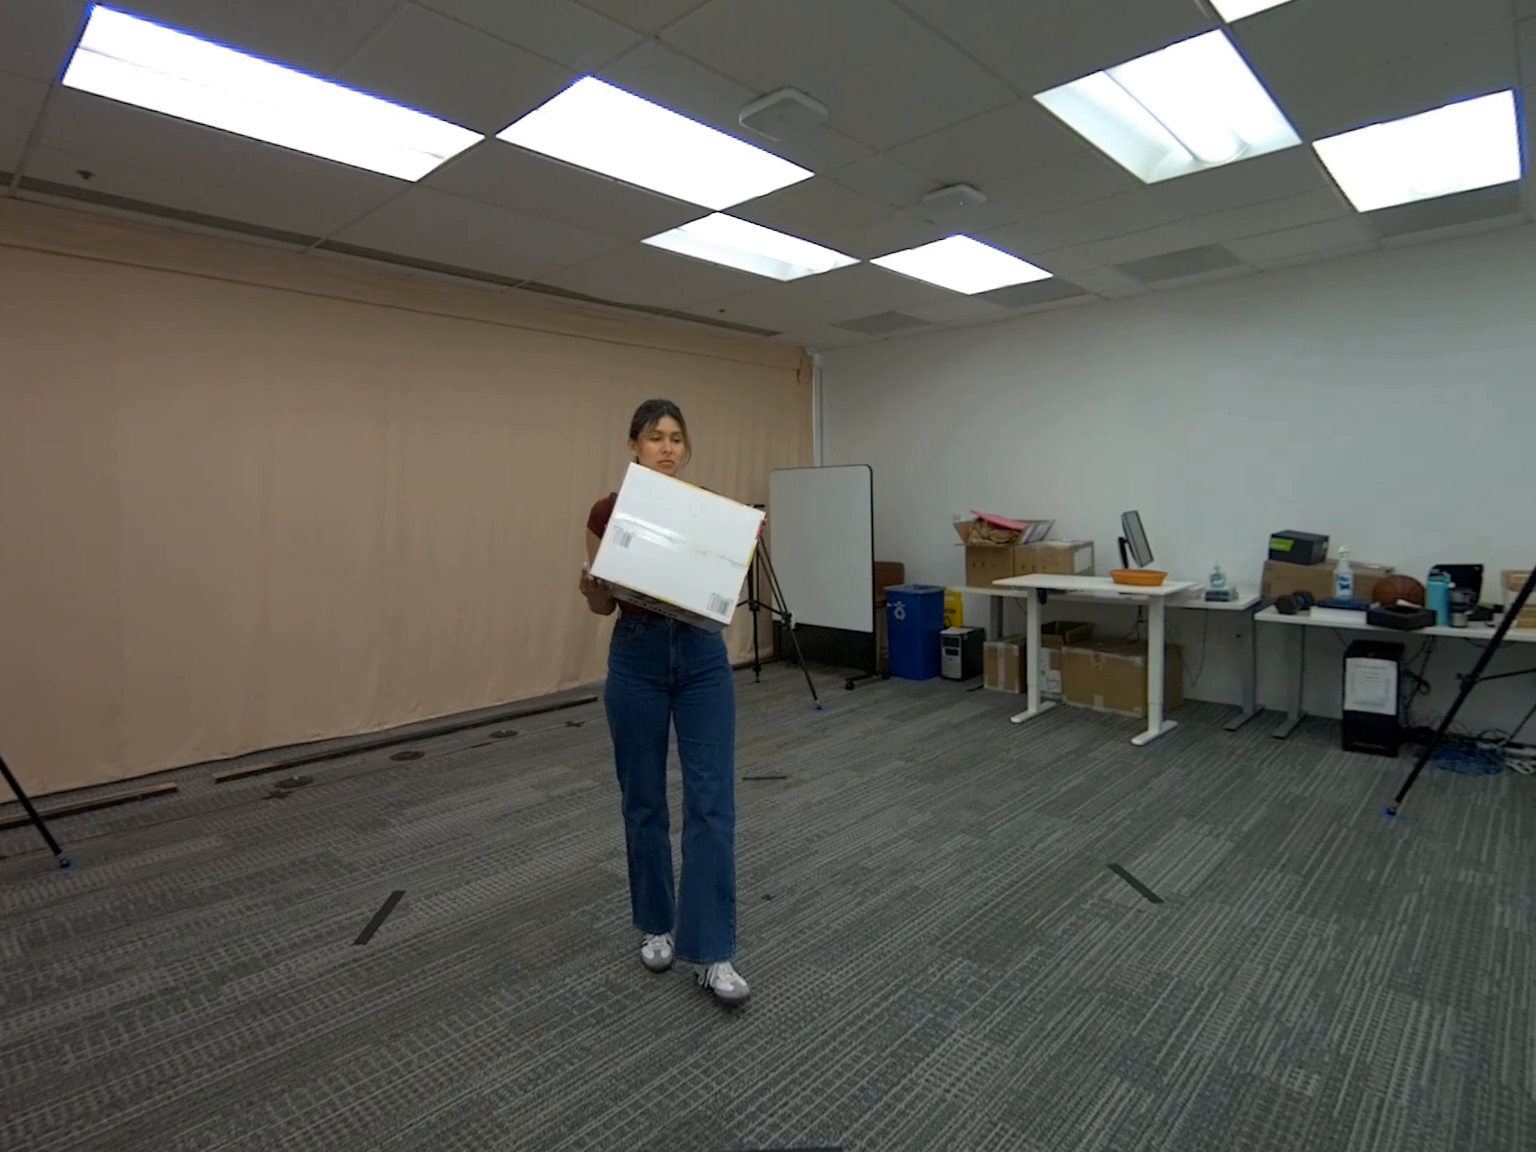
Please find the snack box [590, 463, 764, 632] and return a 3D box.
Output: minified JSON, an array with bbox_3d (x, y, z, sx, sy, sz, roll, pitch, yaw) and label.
[{"bbox_3d":[-0.260,-0.073,2.388,0.400,0.341,0.207,20,-15,-10],"label":"snack box"}]
